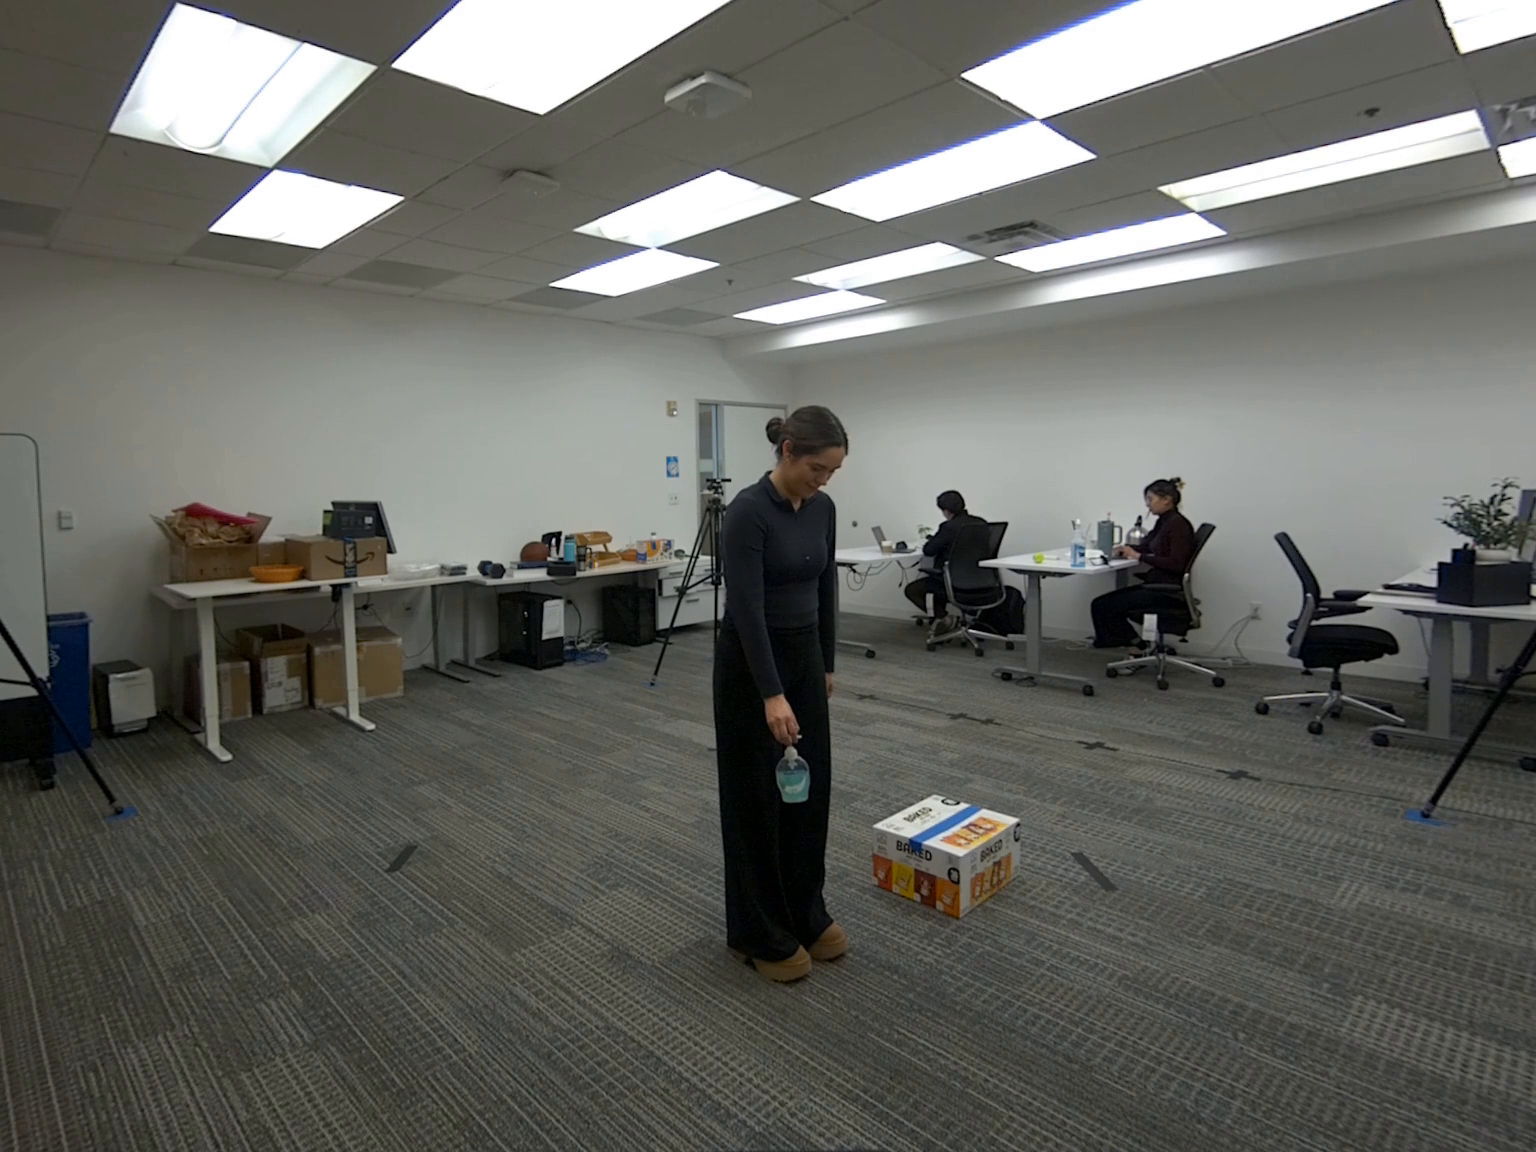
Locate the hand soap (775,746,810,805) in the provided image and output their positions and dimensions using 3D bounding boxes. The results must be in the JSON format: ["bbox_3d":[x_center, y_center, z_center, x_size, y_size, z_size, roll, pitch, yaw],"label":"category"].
[{"bbox_3d":[0.070,0.497,2.193,0.085,0.168,0.043,-3,0,8],"label":"hand soap"}]
